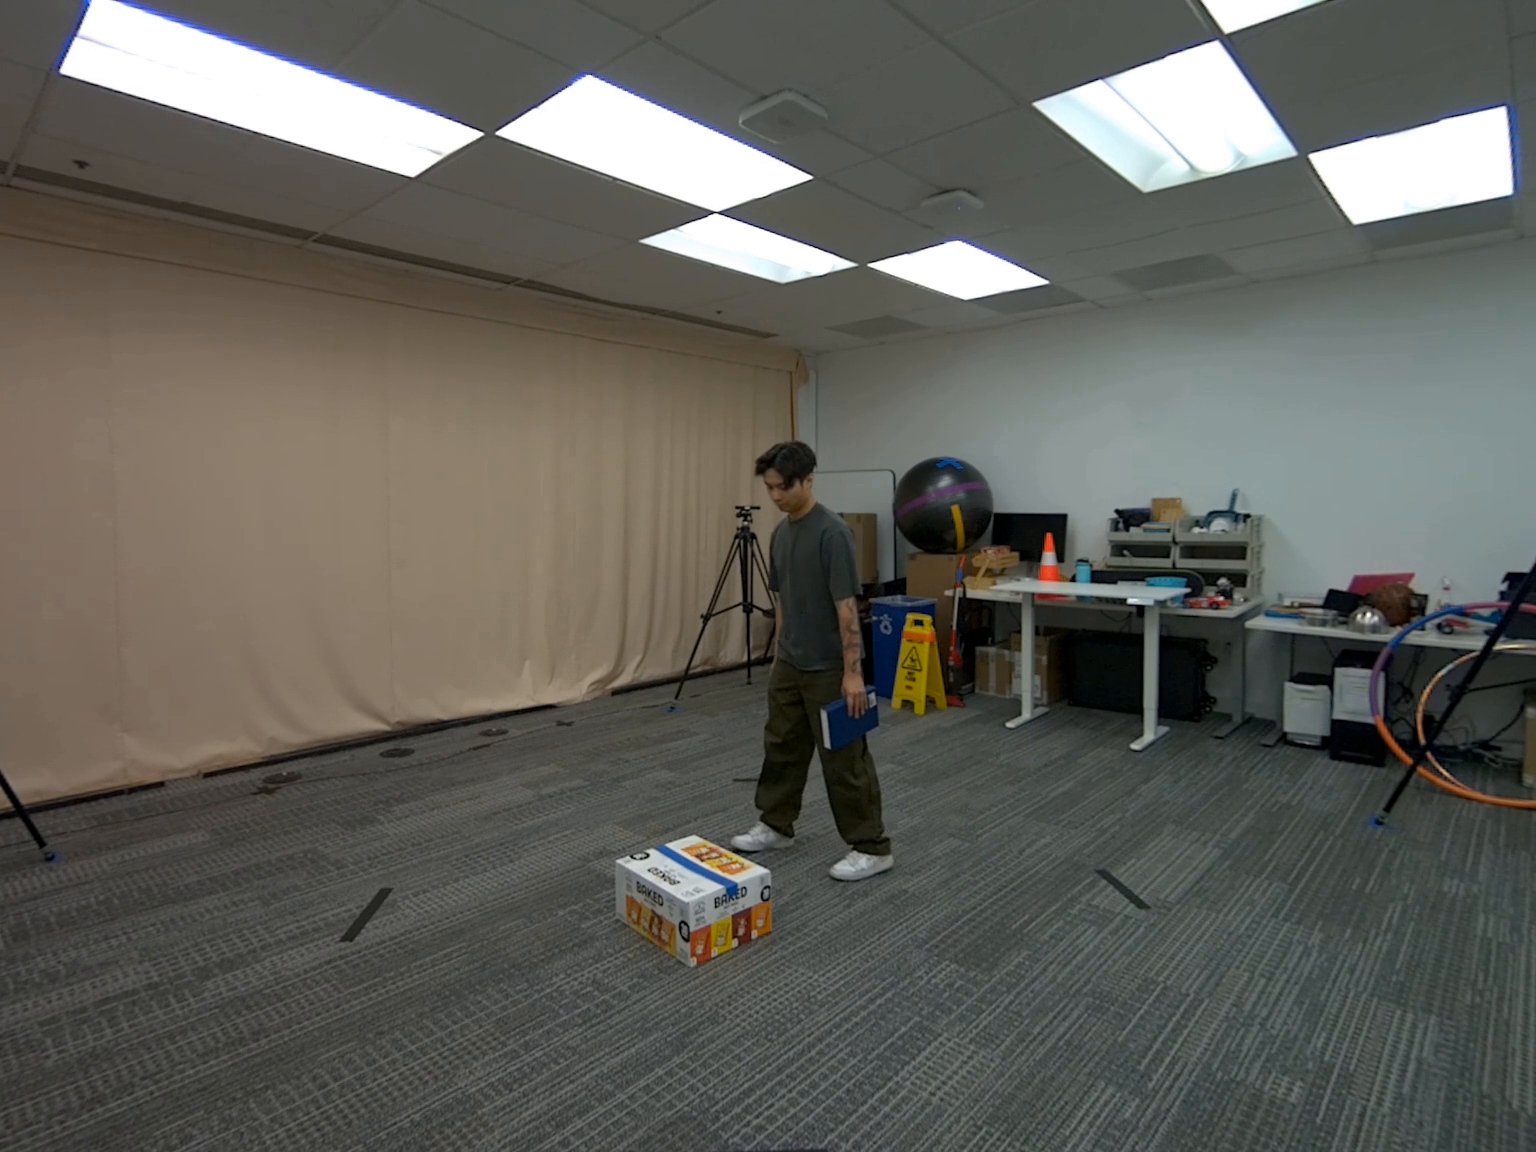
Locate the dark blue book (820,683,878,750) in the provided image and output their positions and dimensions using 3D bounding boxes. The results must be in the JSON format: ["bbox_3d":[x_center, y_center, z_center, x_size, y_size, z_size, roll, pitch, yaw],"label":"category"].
[{"bbox_3d":[0.281,0.510,3.061,0.240,0.161,0.047,-19,18,-33],"label":"dark blue book"}]
